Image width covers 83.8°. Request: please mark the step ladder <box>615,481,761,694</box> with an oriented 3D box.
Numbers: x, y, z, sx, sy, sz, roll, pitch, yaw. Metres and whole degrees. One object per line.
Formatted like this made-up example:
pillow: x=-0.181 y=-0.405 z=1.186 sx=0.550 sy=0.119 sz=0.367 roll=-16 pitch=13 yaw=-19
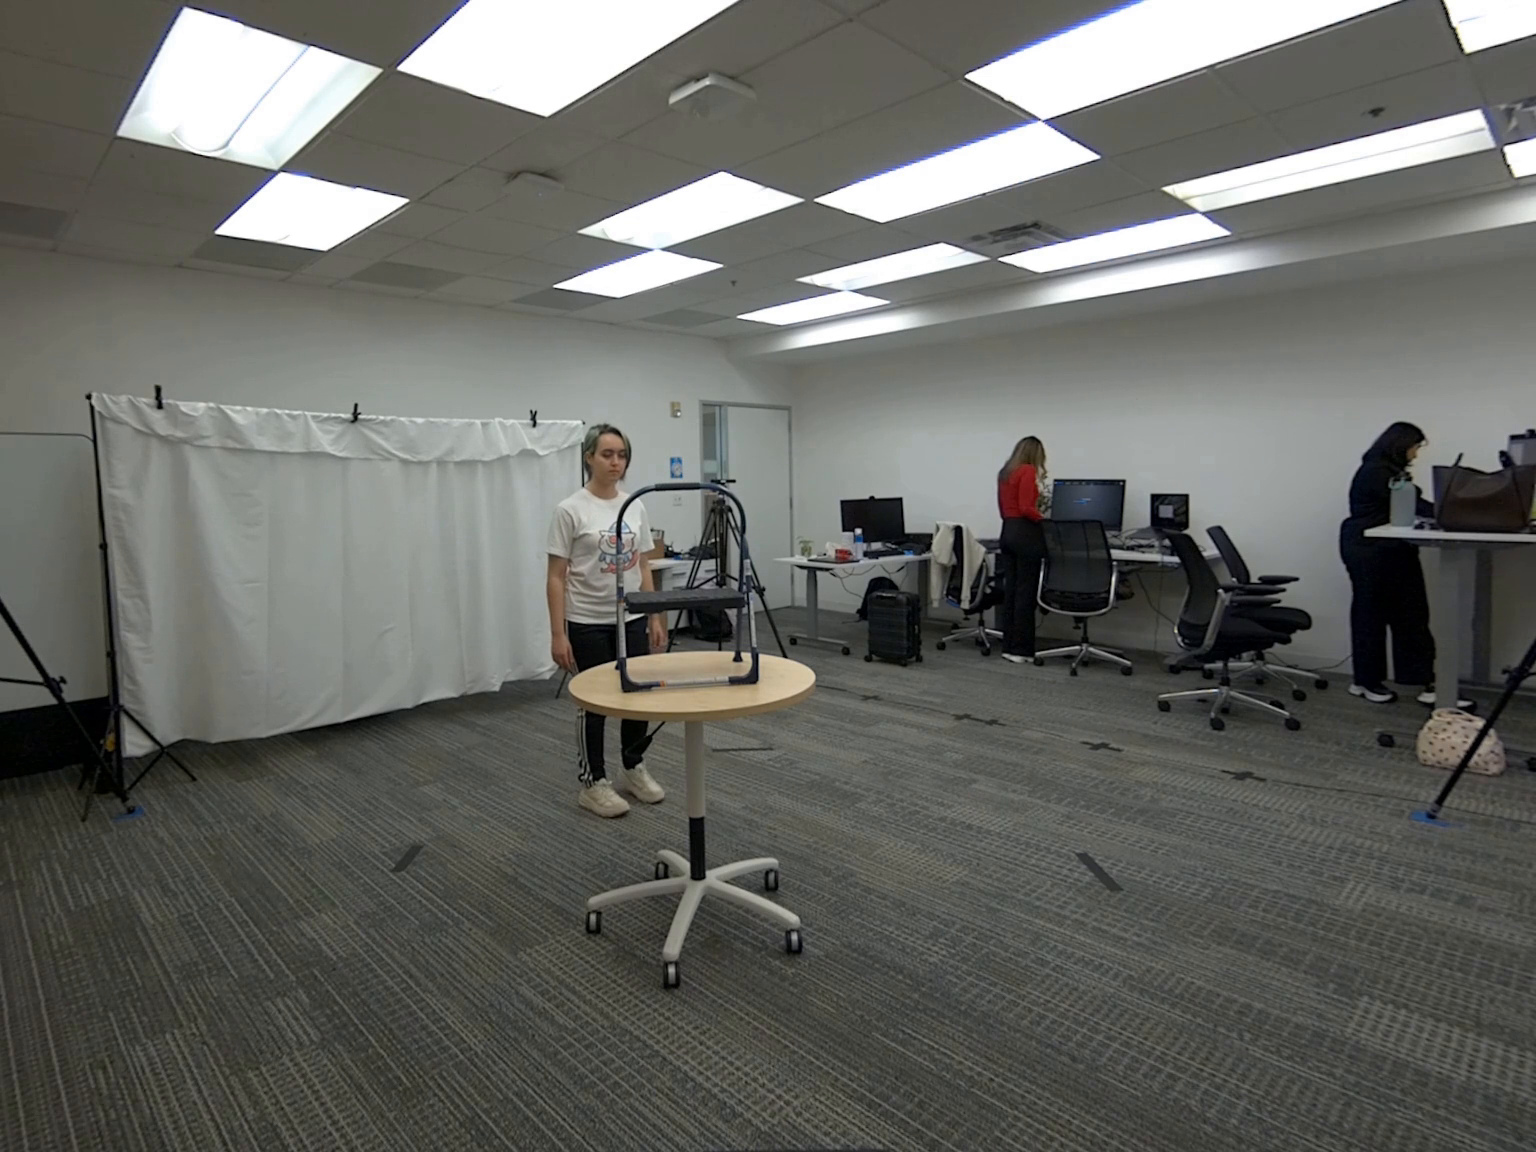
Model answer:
step ladder: x=-0.268 y=0.015 z=2.672 sx=0.426 sy=0.604 sz=0.354 roll=-2 pitch=5 yaw=-11
